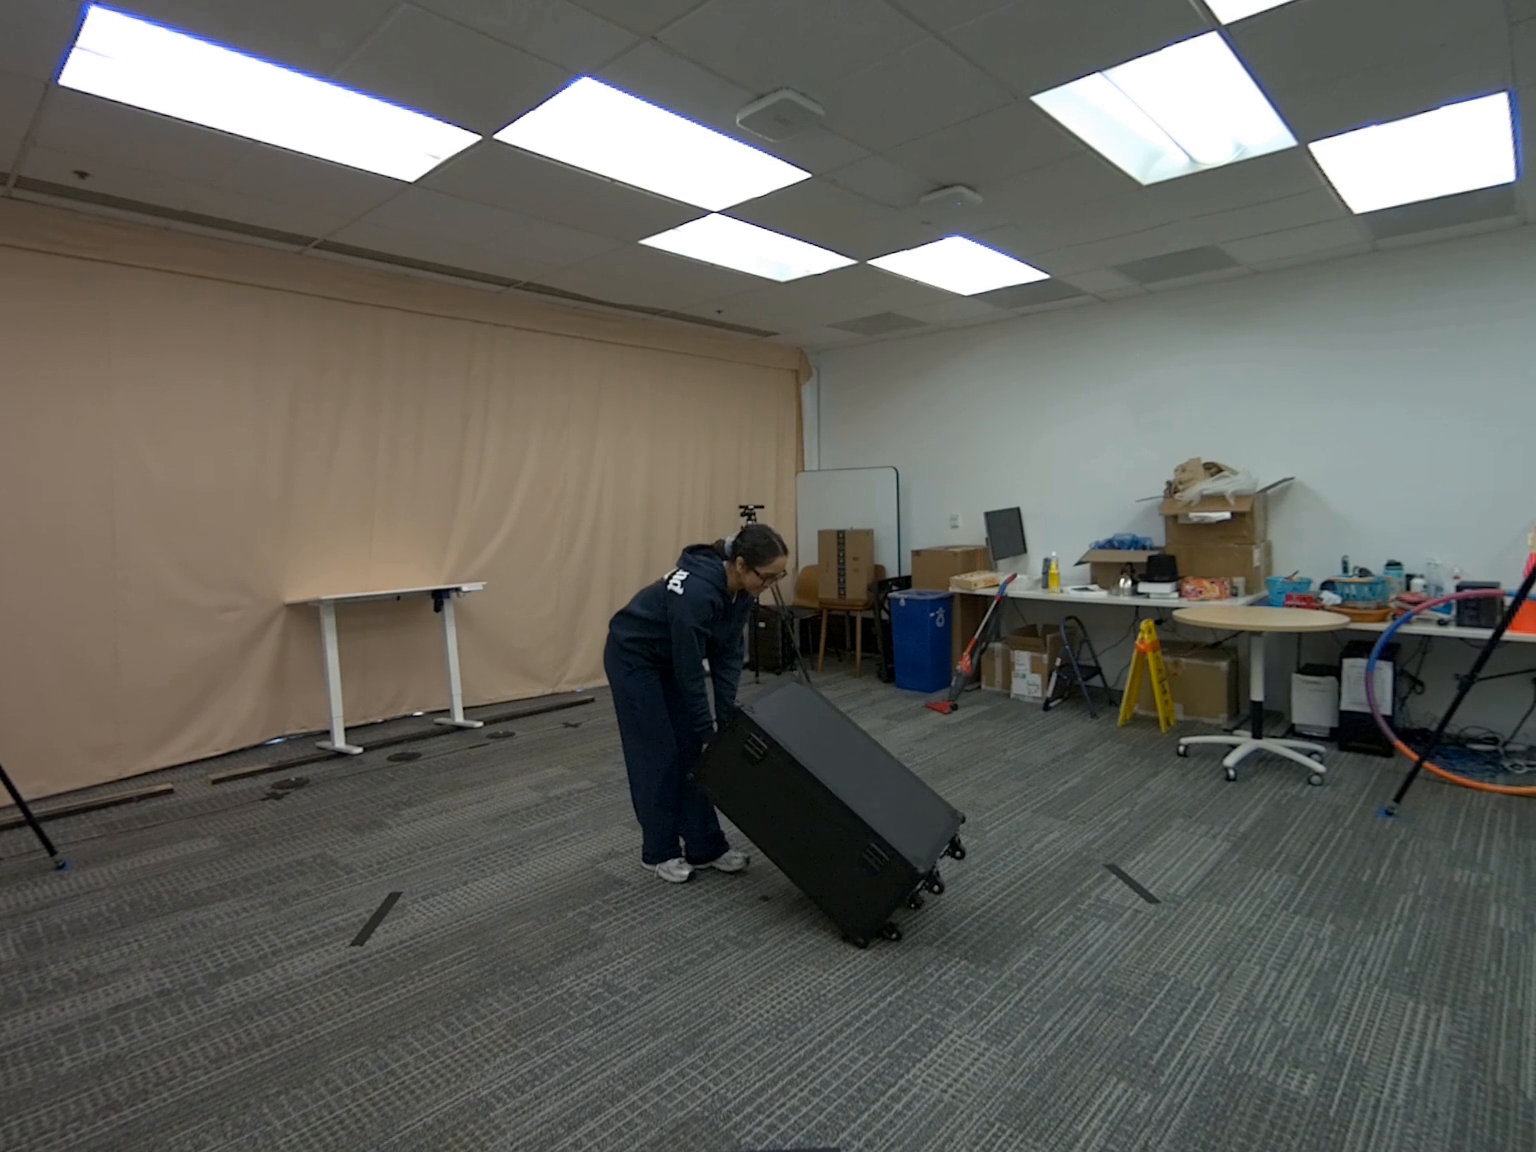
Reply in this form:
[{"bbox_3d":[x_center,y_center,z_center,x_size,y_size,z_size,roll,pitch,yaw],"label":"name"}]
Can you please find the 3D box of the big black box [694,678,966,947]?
[{"bbox_3d":[0.224,0.794,2.891,0.883,0.396,0.509,39,22,20],"label":"big black box"}]
